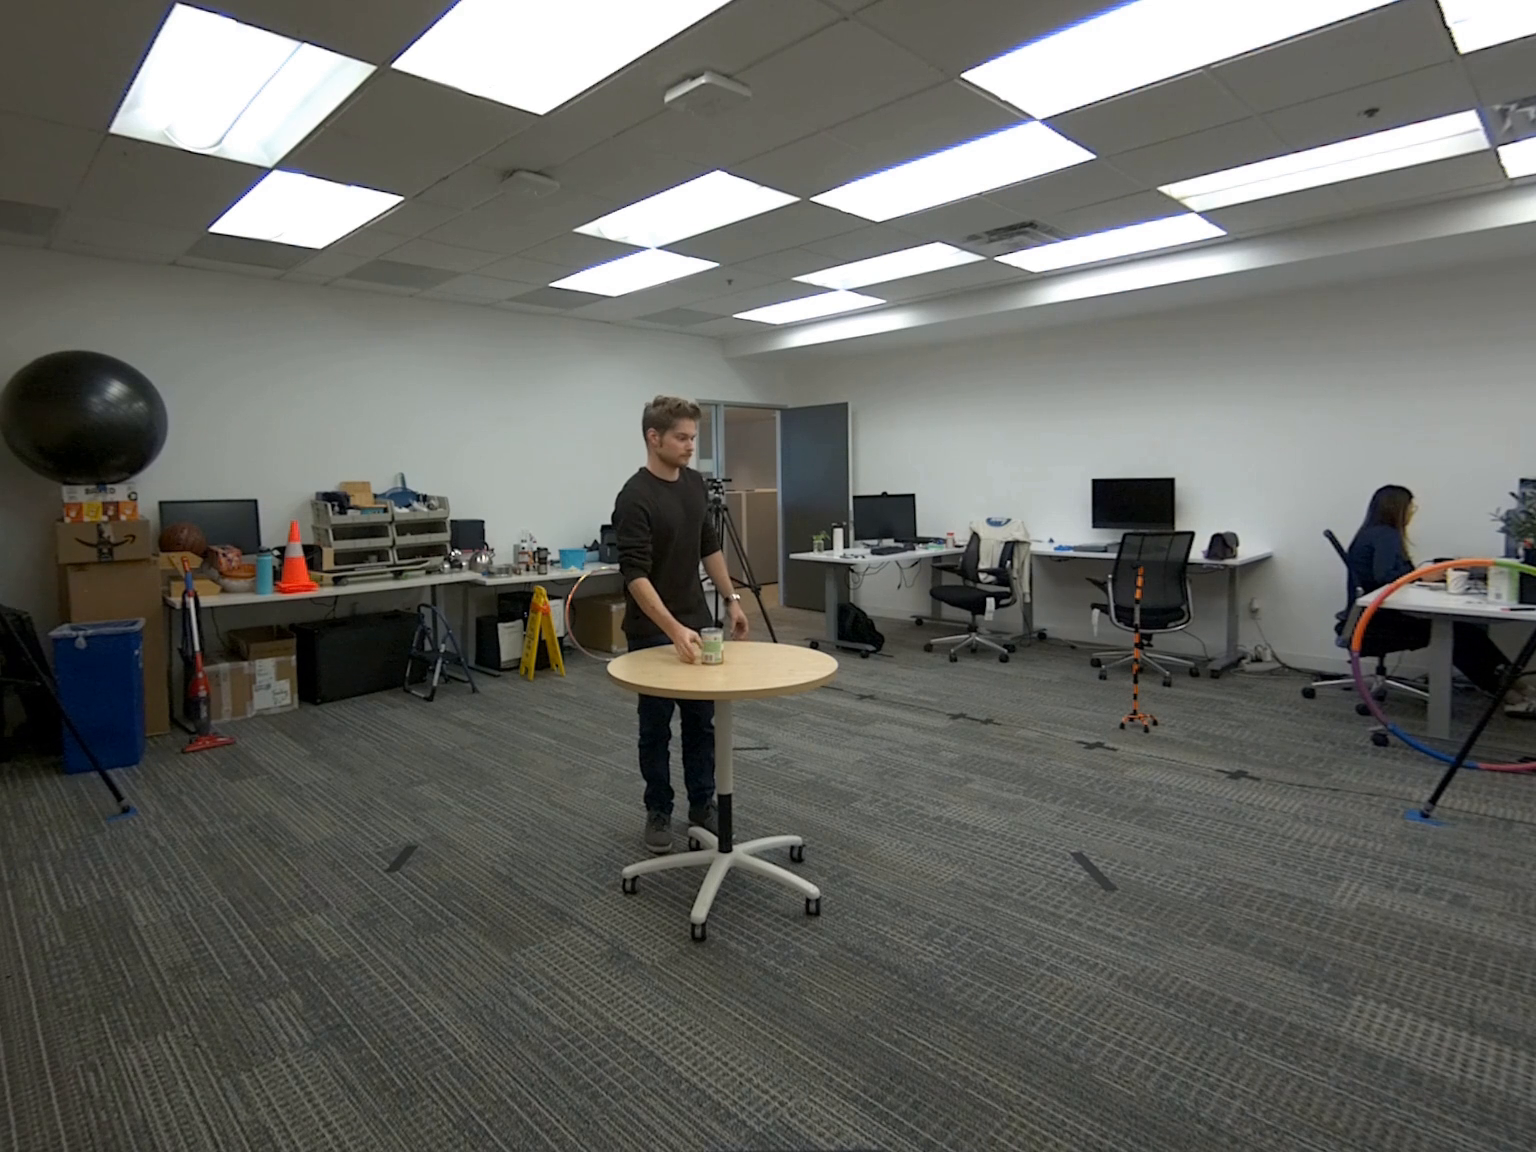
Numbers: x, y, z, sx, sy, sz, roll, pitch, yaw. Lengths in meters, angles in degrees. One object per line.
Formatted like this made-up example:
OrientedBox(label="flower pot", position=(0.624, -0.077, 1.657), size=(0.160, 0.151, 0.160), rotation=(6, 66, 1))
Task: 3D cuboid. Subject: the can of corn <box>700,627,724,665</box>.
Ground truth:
OrientedBox(label="can of corn", position=(-0.191, 0.239, 2.849), size=(0.074, 0.111, 0.074), rotation=(-5, 3, -1))
